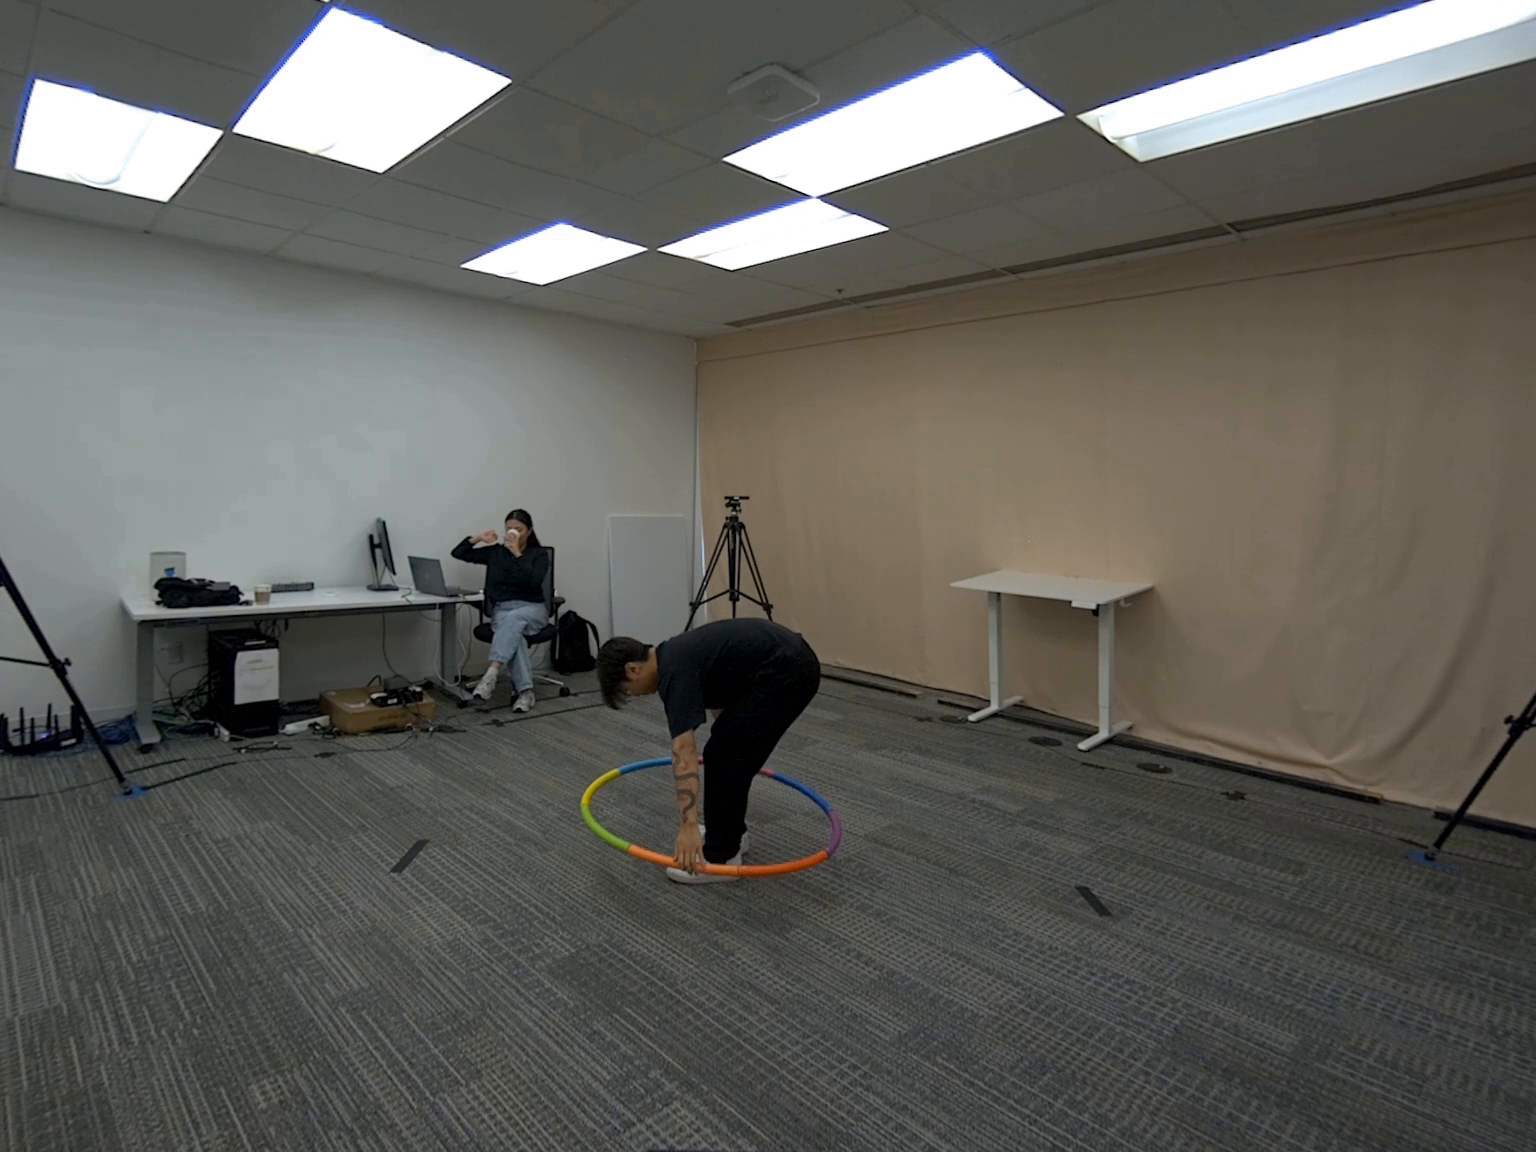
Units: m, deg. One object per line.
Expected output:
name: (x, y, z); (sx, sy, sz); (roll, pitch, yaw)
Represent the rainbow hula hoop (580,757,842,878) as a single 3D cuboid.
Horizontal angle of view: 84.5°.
rainbow hula hoop: (-0.218, 0.889, 3.213); (0.977, 0.035, 0.985); (6, 9, -2)
